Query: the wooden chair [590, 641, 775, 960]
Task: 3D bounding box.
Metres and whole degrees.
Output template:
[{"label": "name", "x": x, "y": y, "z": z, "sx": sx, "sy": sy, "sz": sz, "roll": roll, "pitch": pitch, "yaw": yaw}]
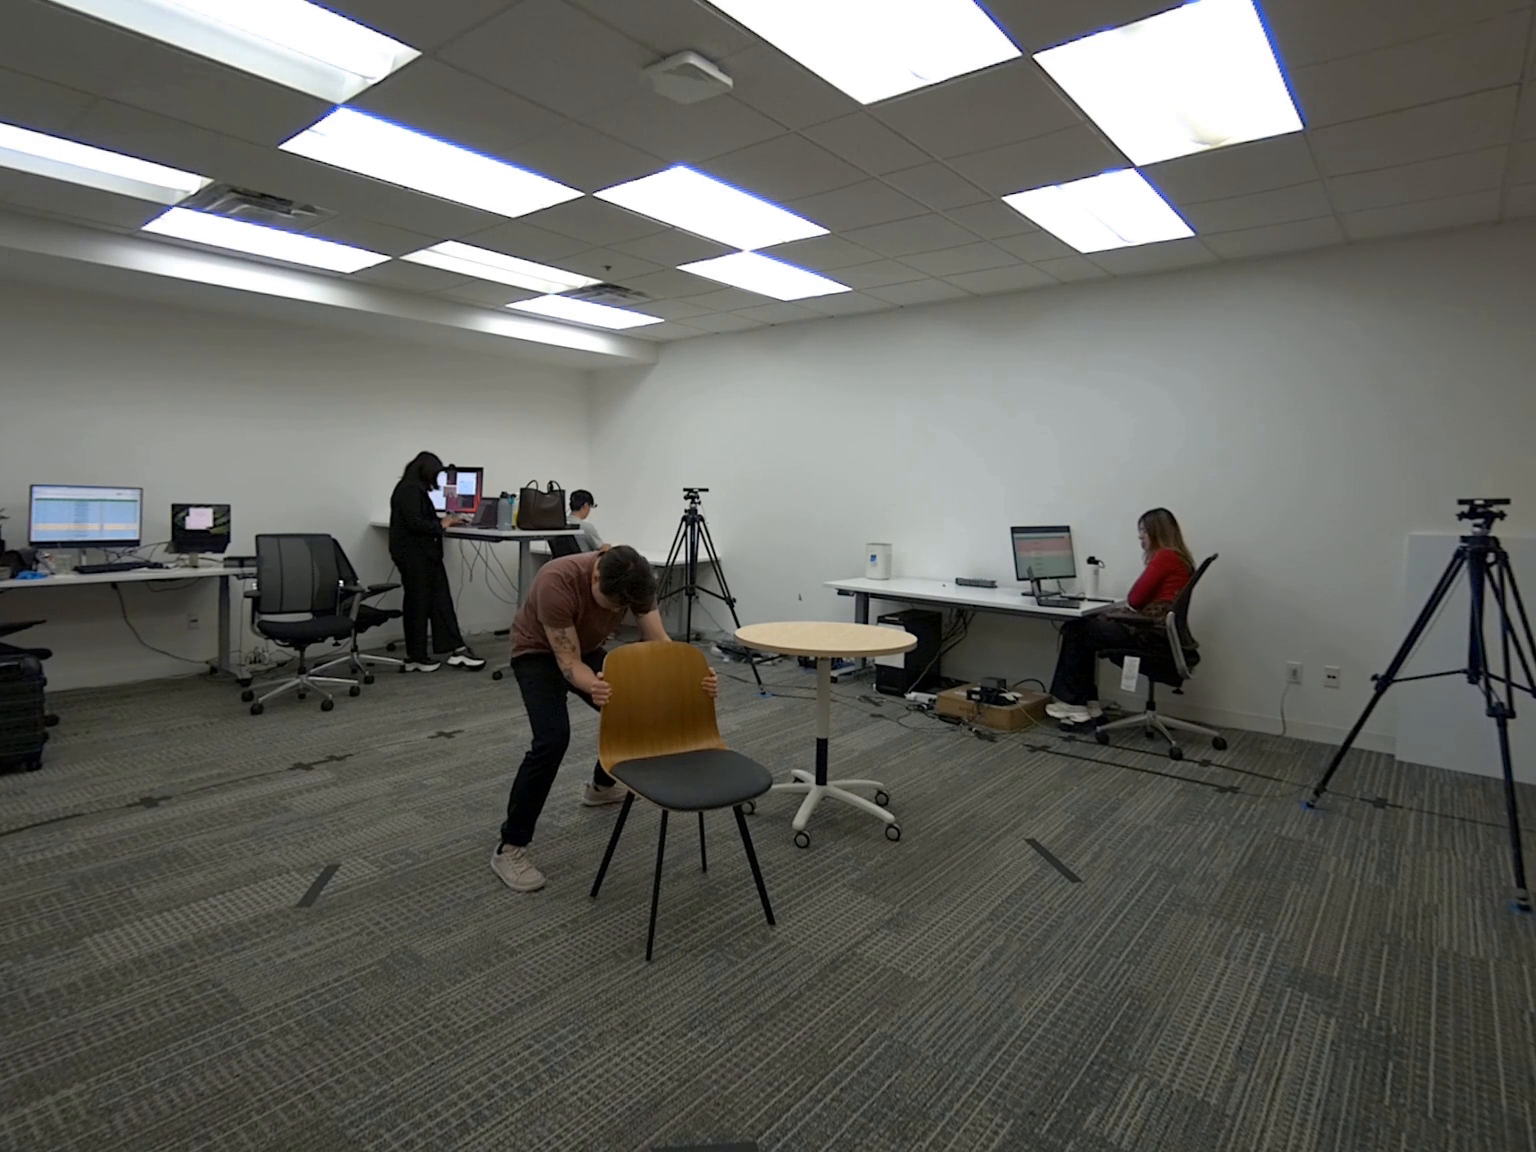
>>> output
[{"label": "wooden chair", "x": -0.281, "y": 0.674, "z": 2.765, "sx": 0.465, "sy": 0.878, "sz": 0.538, "roll": 0, "pitch": 0, "yaw": -32}]
